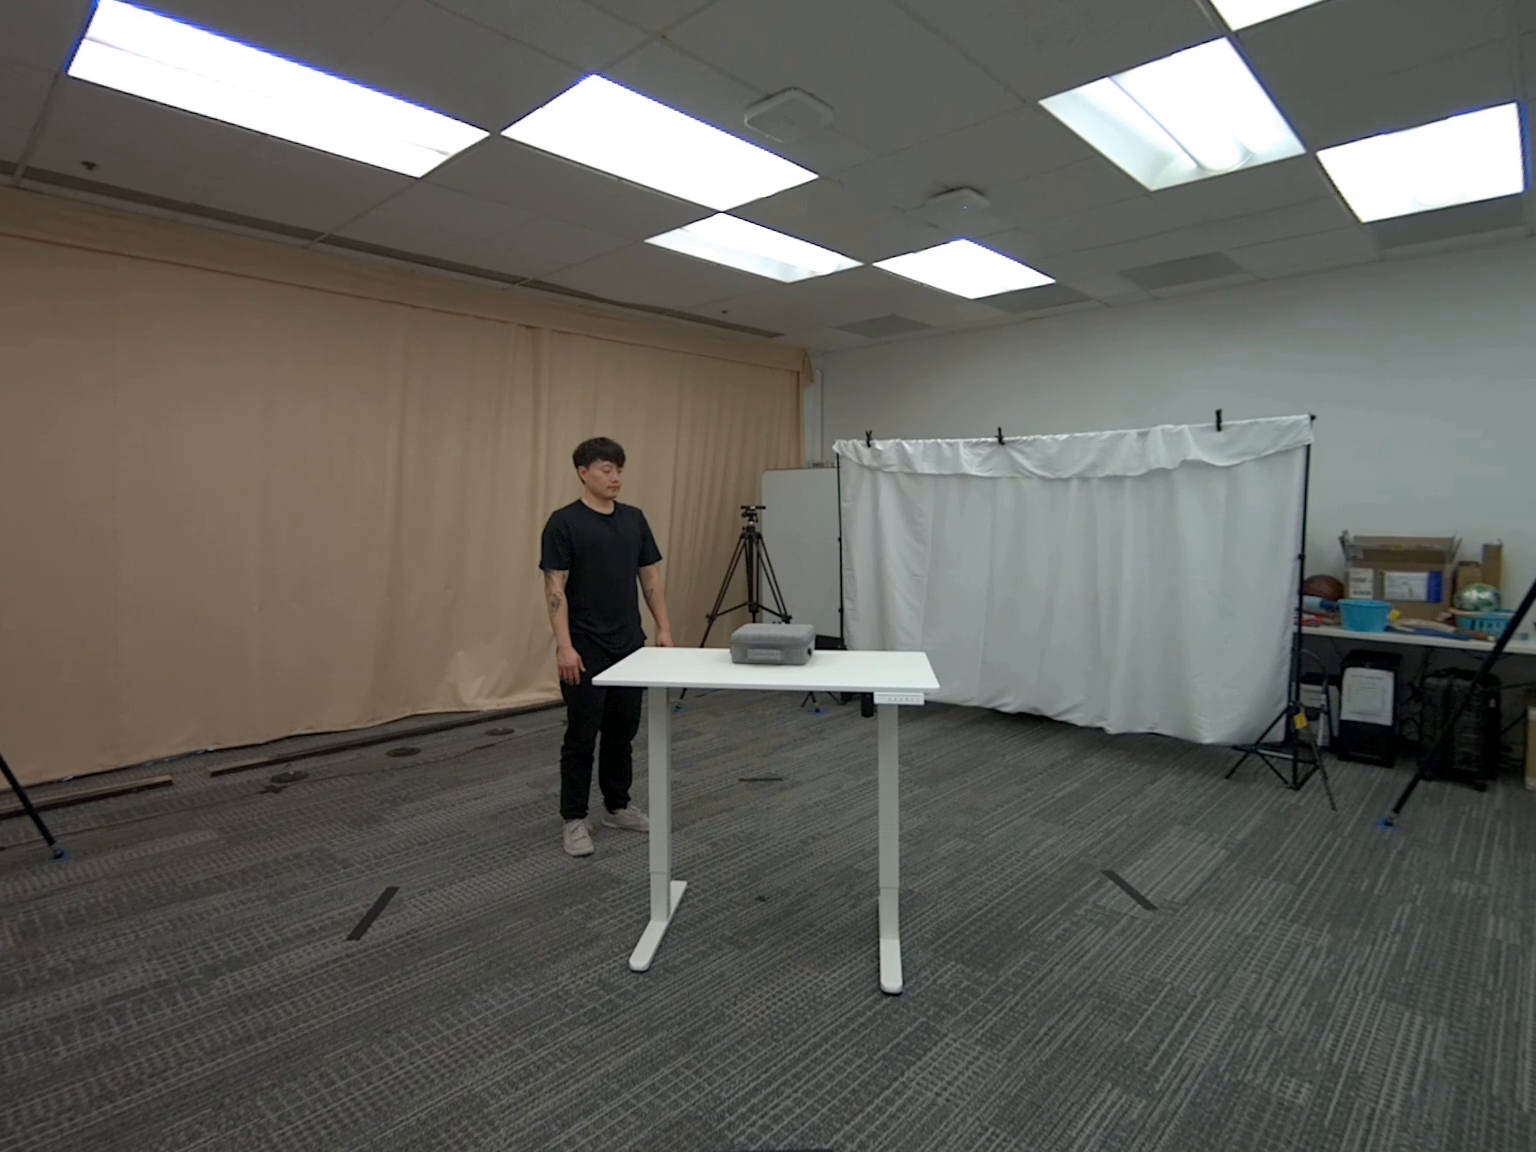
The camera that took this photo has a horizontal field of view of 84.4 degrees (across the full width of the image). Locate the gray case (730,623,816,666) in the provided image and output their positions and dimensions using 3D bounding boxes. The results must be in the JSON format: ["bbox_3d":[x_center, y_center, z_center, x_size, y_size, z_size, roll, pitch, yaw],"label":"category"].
[{"bbox_3d":[0.025,0.225,2.797,0.261,0.104,0.258,1,5,12],"label":"gray case"}]
